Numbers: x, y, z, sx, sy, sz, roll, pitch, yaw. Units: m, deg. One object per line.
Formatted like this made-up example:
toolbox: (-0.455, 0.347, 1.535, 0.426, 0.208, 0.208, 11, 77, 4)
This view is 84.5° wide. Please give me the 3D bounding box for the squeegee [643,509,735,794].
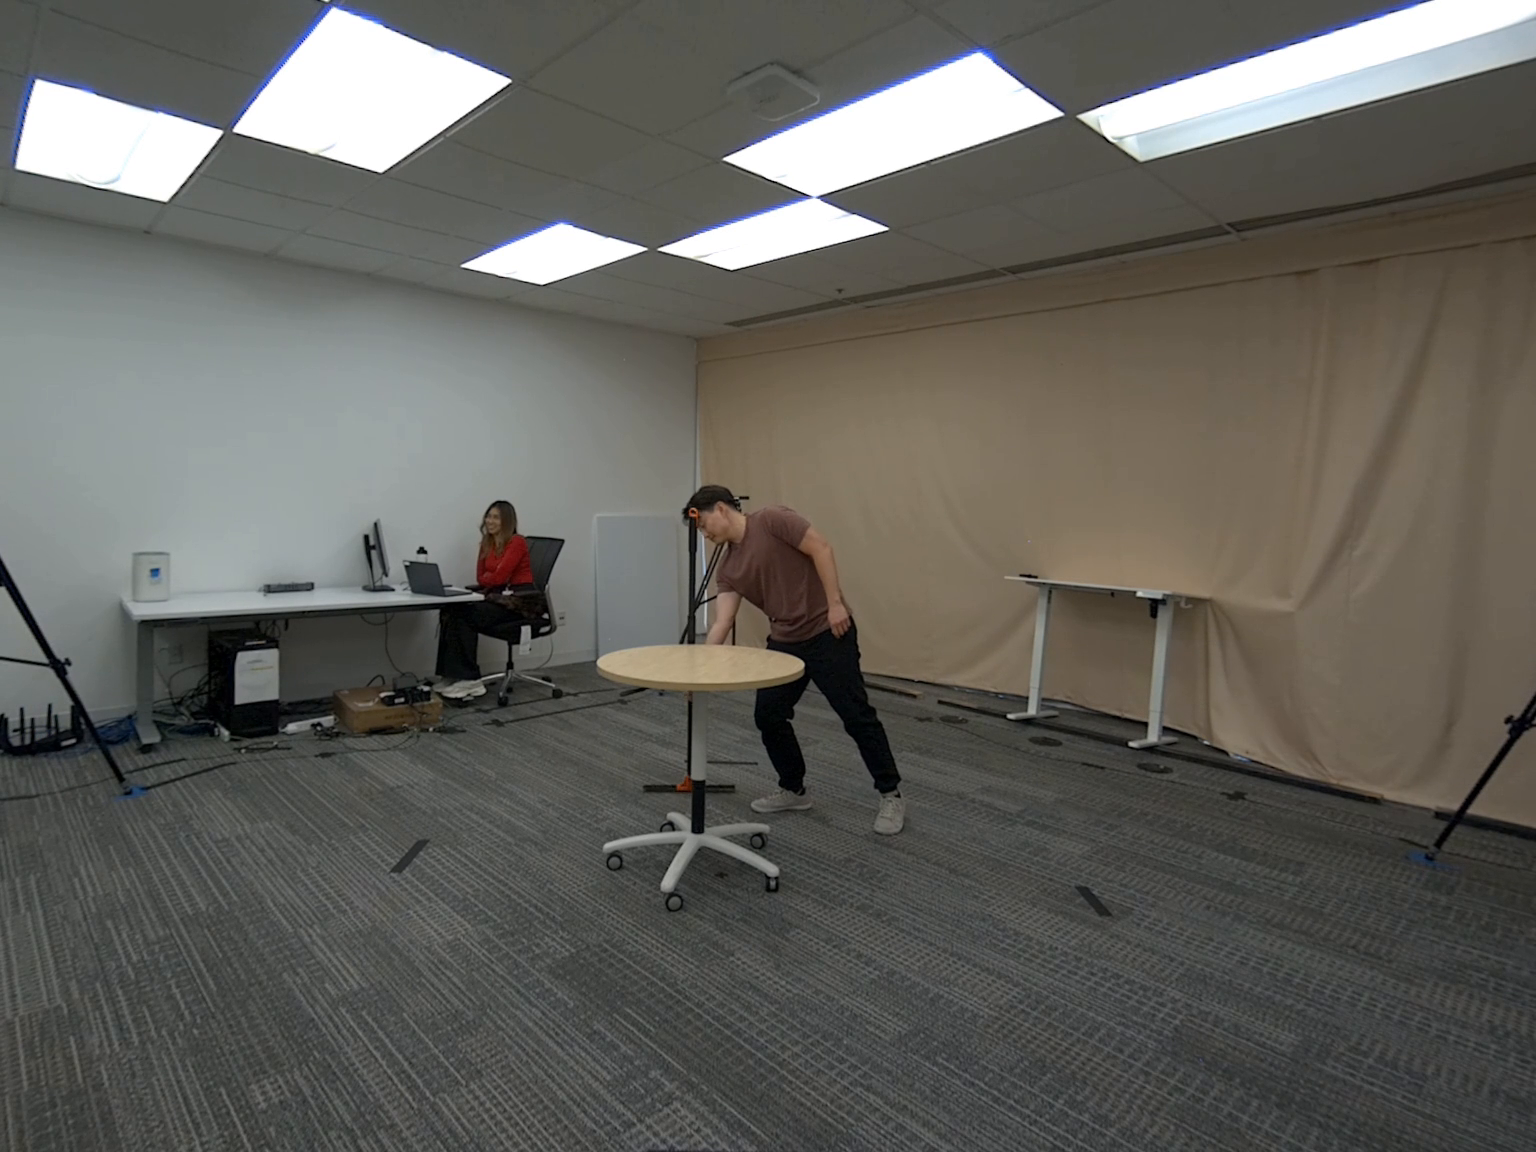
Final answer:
squeegee: (-0.347, 0.377, 3.583, 0.438, 1.507, 0.054, 3, 34, 0)
